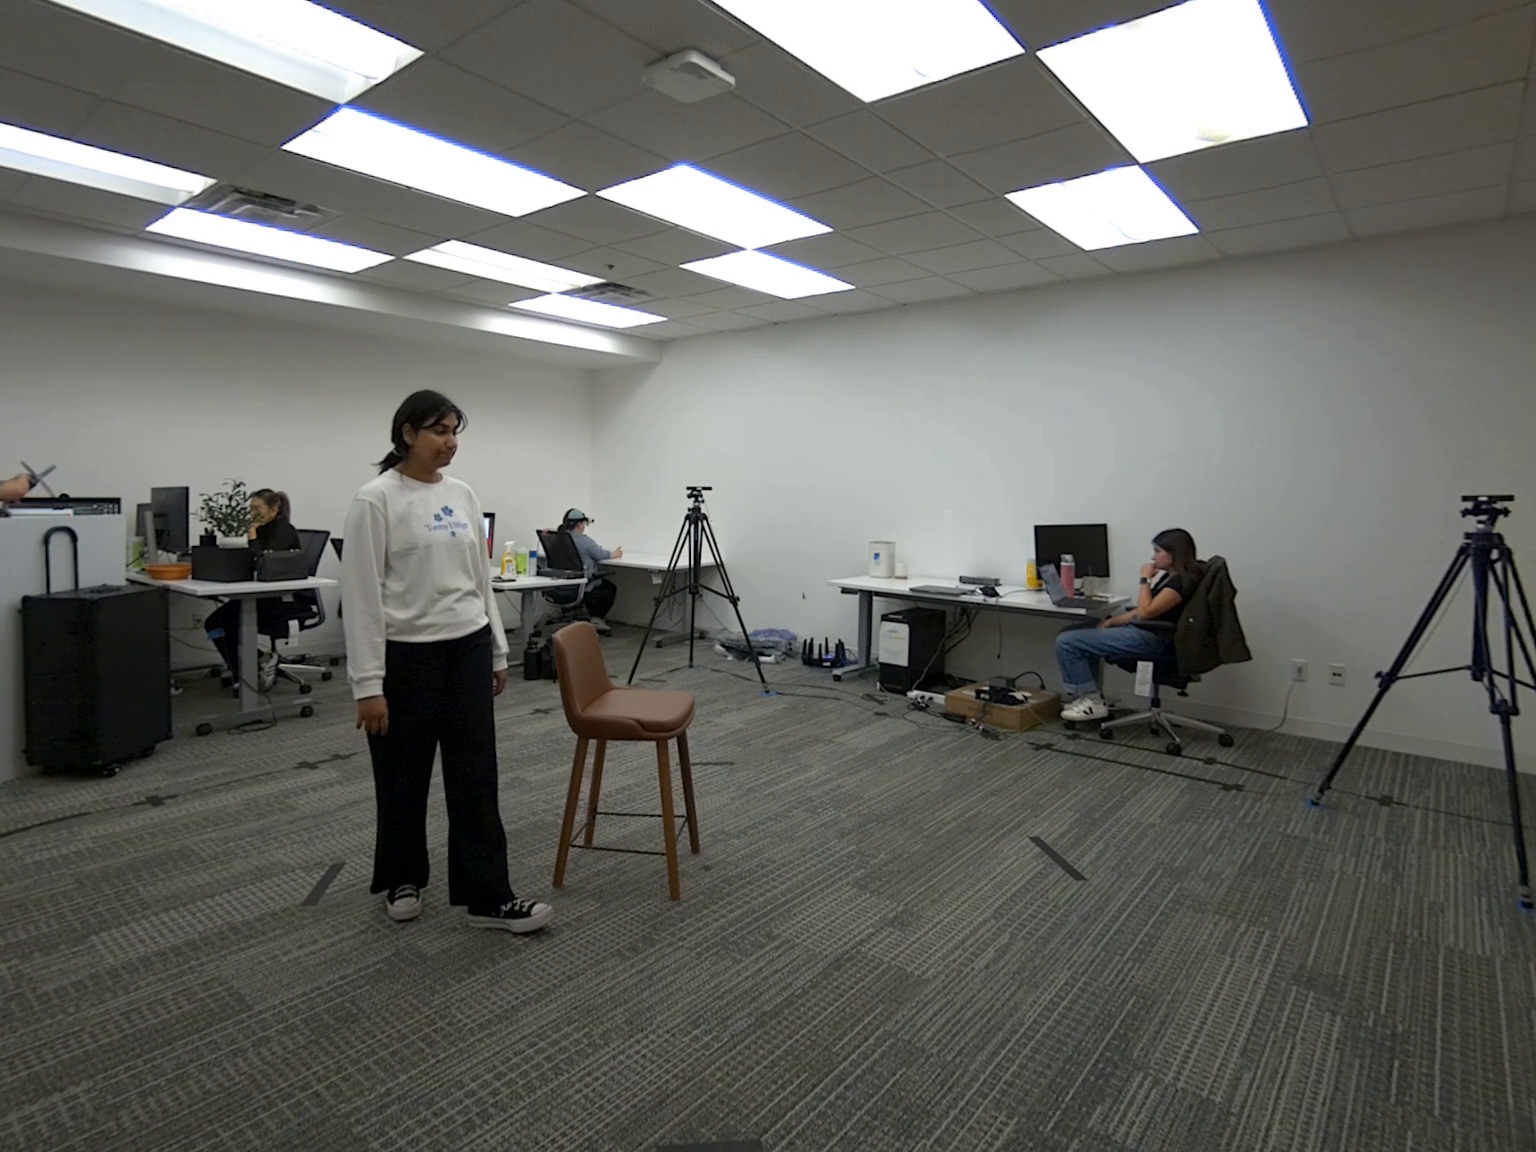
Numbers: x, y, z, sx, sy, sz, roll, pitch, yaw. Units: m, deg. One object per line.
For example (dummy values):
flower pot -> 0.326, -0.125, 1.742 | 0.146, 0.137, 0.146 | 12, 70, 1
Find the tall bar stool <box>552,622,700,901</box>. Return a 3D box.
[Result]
tall bar stool -> -0.507, 0.632, 3.069 | 0.472, 0.888, 0.453 | 0, 3, 9
